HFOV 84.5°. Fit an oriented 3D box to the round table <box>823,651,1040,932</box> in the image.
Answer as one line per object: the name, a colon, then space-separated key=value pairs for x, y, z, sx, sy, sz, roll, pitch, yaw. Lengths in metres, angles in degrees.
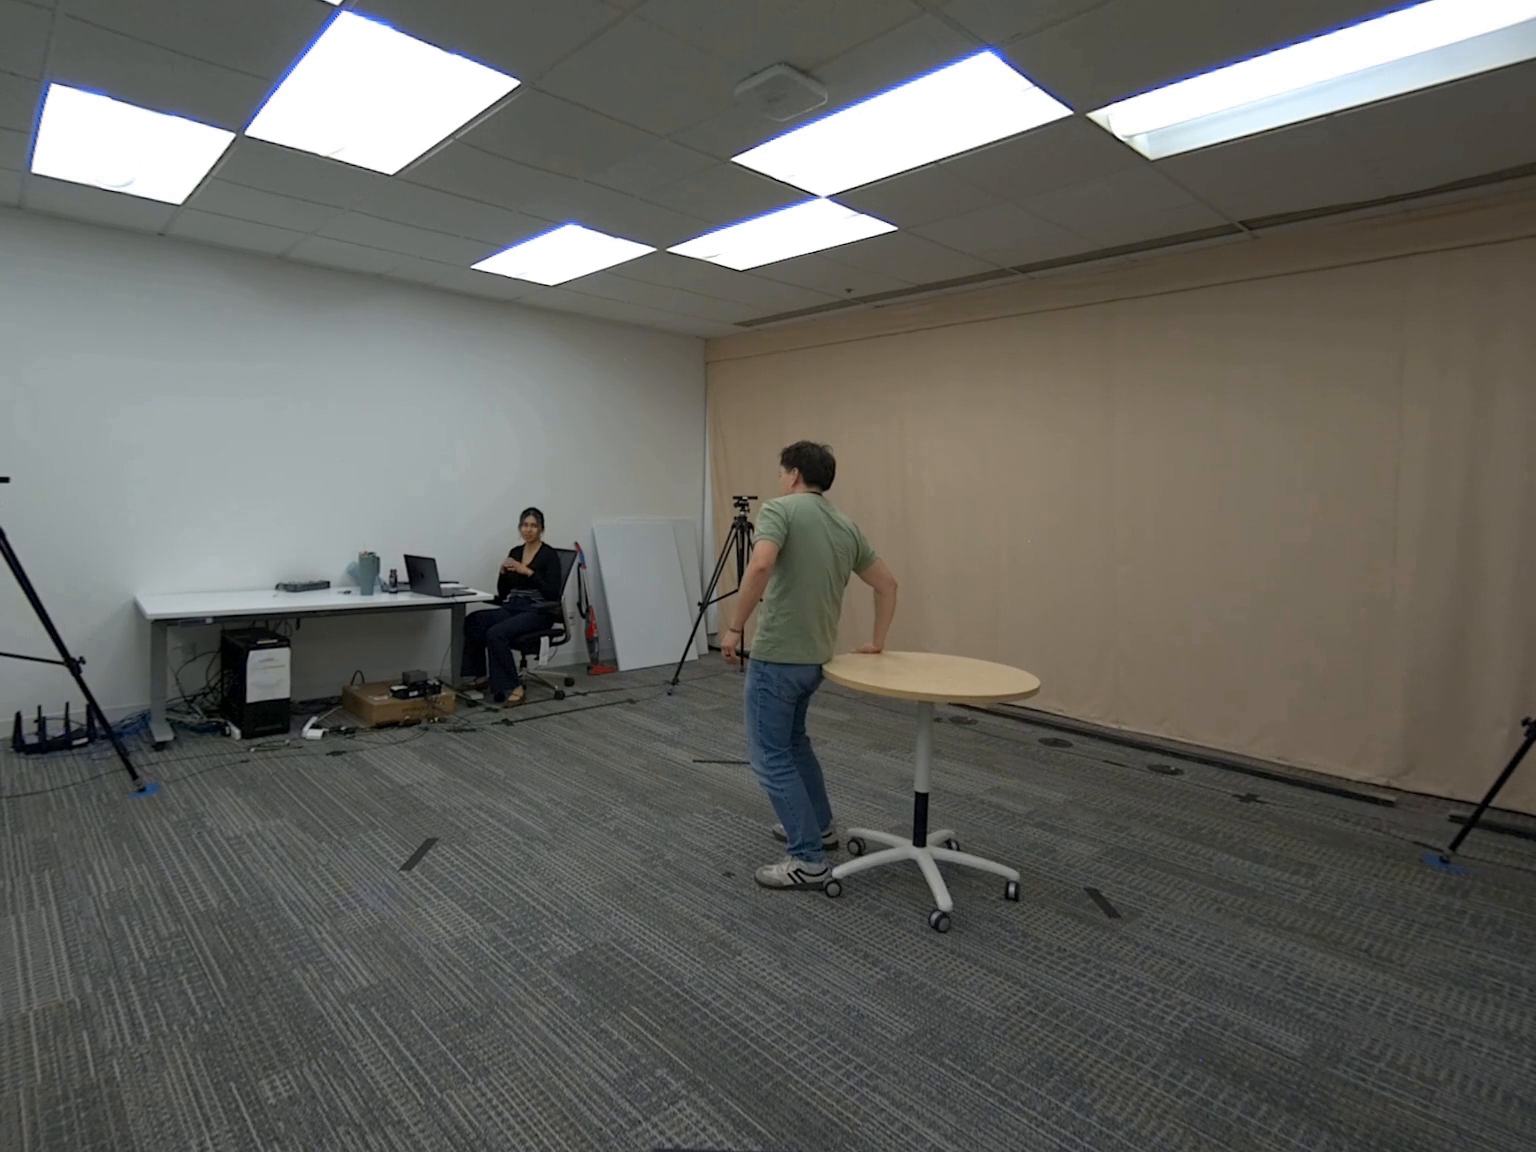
round table: x=0.554 y=0.733 z=3.065 sx=0.763 sy=0.792 sz=0.766 roll=2 pitch=3 yaw=-2
